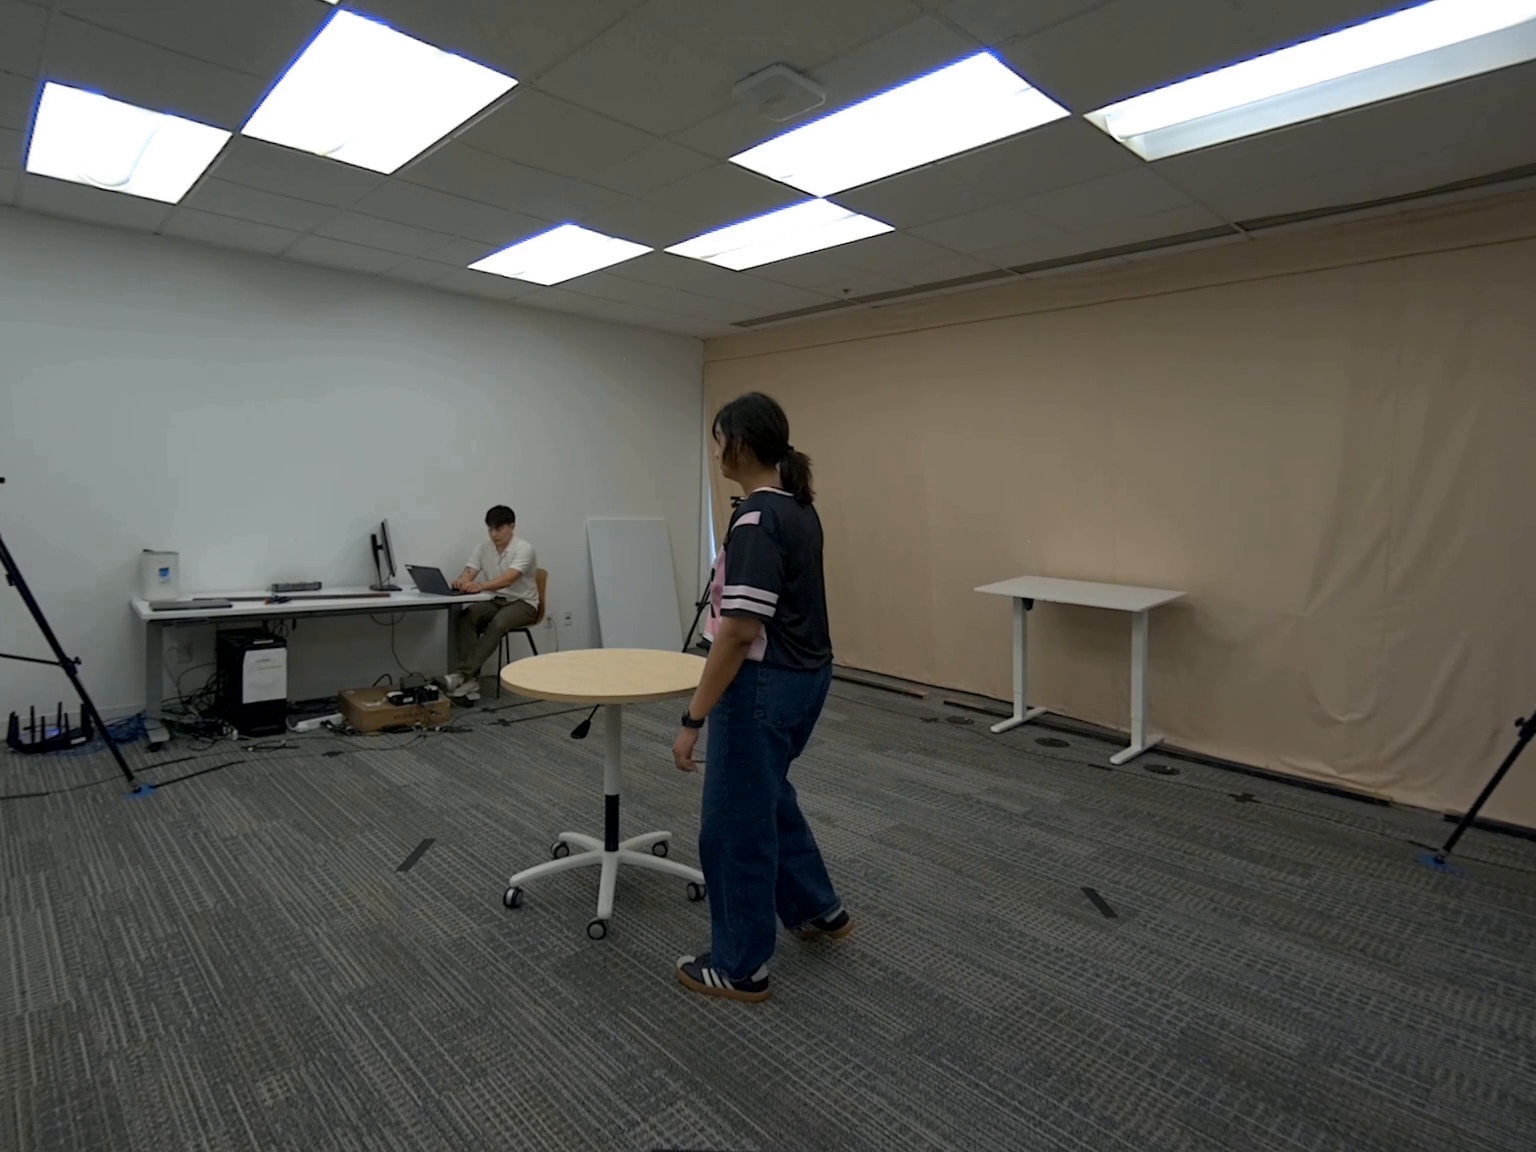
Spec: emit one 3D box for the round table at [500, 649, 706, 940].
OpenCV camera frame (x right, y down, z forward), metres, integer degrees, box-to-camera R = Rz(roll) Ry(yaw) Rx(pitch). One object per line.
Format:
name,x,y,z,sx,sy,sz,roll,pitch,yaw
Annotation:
round table,-0.556,0.721,2.965,0.763,0.792,0.767,1,4,-1
